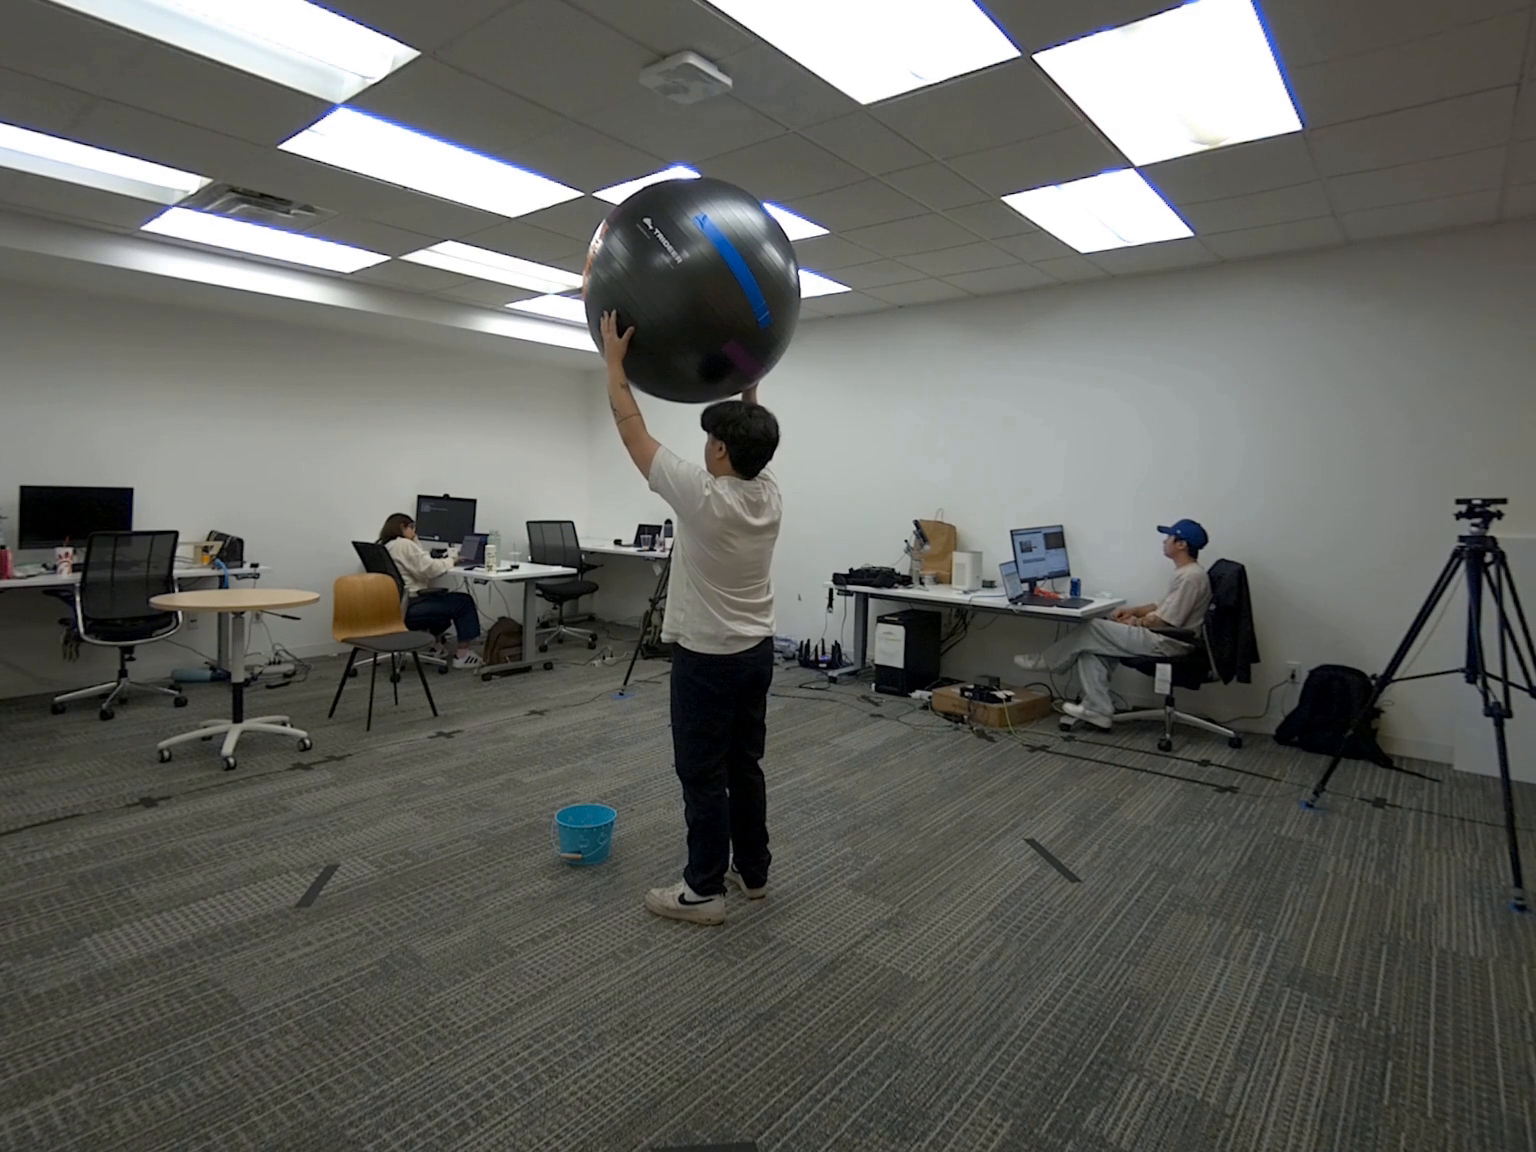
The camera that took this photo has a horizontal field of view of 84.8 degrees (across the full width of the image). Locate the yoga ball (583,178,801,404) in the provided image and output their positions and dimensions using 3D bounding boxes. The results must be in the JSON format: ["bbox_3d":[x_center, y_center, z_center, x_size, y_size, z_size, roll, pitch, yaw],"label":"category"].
[{"bbox_3d":[-0.277,-0.982,2.960,0.757,0.755,0.762,1,4,-2],"label":"yoga ball"}]
